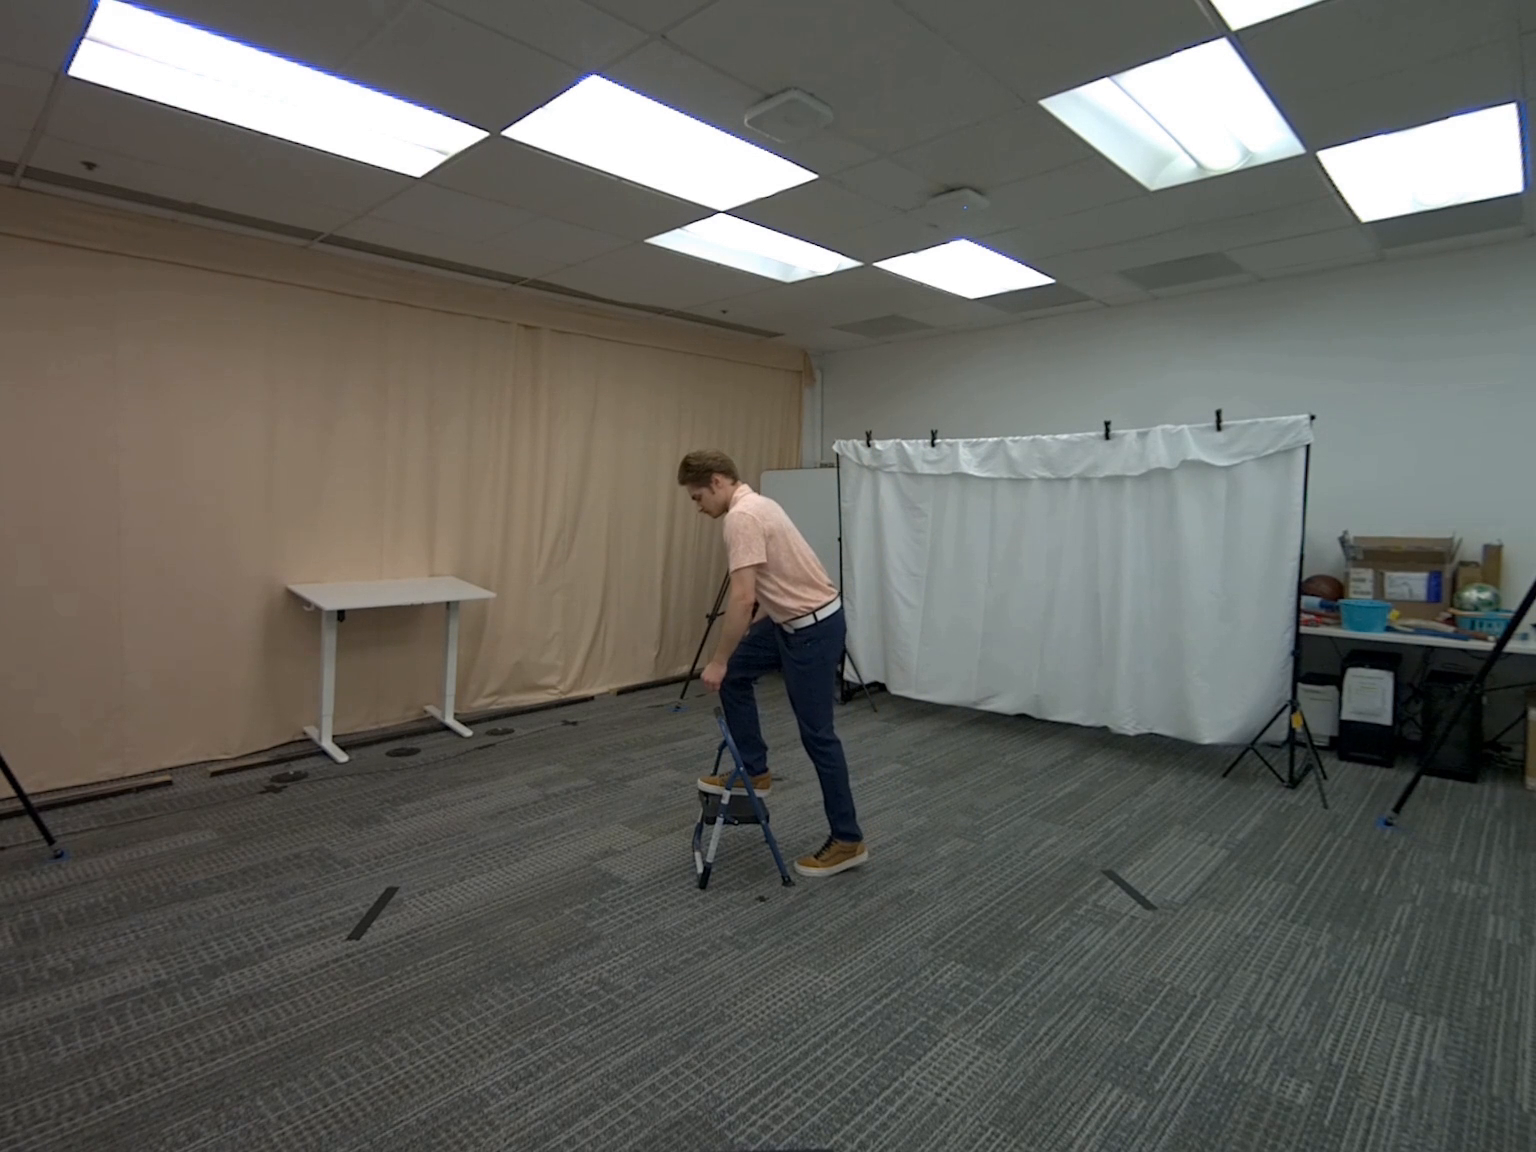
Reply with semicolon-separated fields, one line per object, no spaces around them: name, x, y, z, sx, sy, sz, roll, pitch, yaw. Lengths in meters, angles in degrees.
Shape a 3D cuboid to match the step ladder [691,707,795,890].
step ladder;-0.112;0.824;3.257;0.346;0.604;0.435;-1;4;-9
